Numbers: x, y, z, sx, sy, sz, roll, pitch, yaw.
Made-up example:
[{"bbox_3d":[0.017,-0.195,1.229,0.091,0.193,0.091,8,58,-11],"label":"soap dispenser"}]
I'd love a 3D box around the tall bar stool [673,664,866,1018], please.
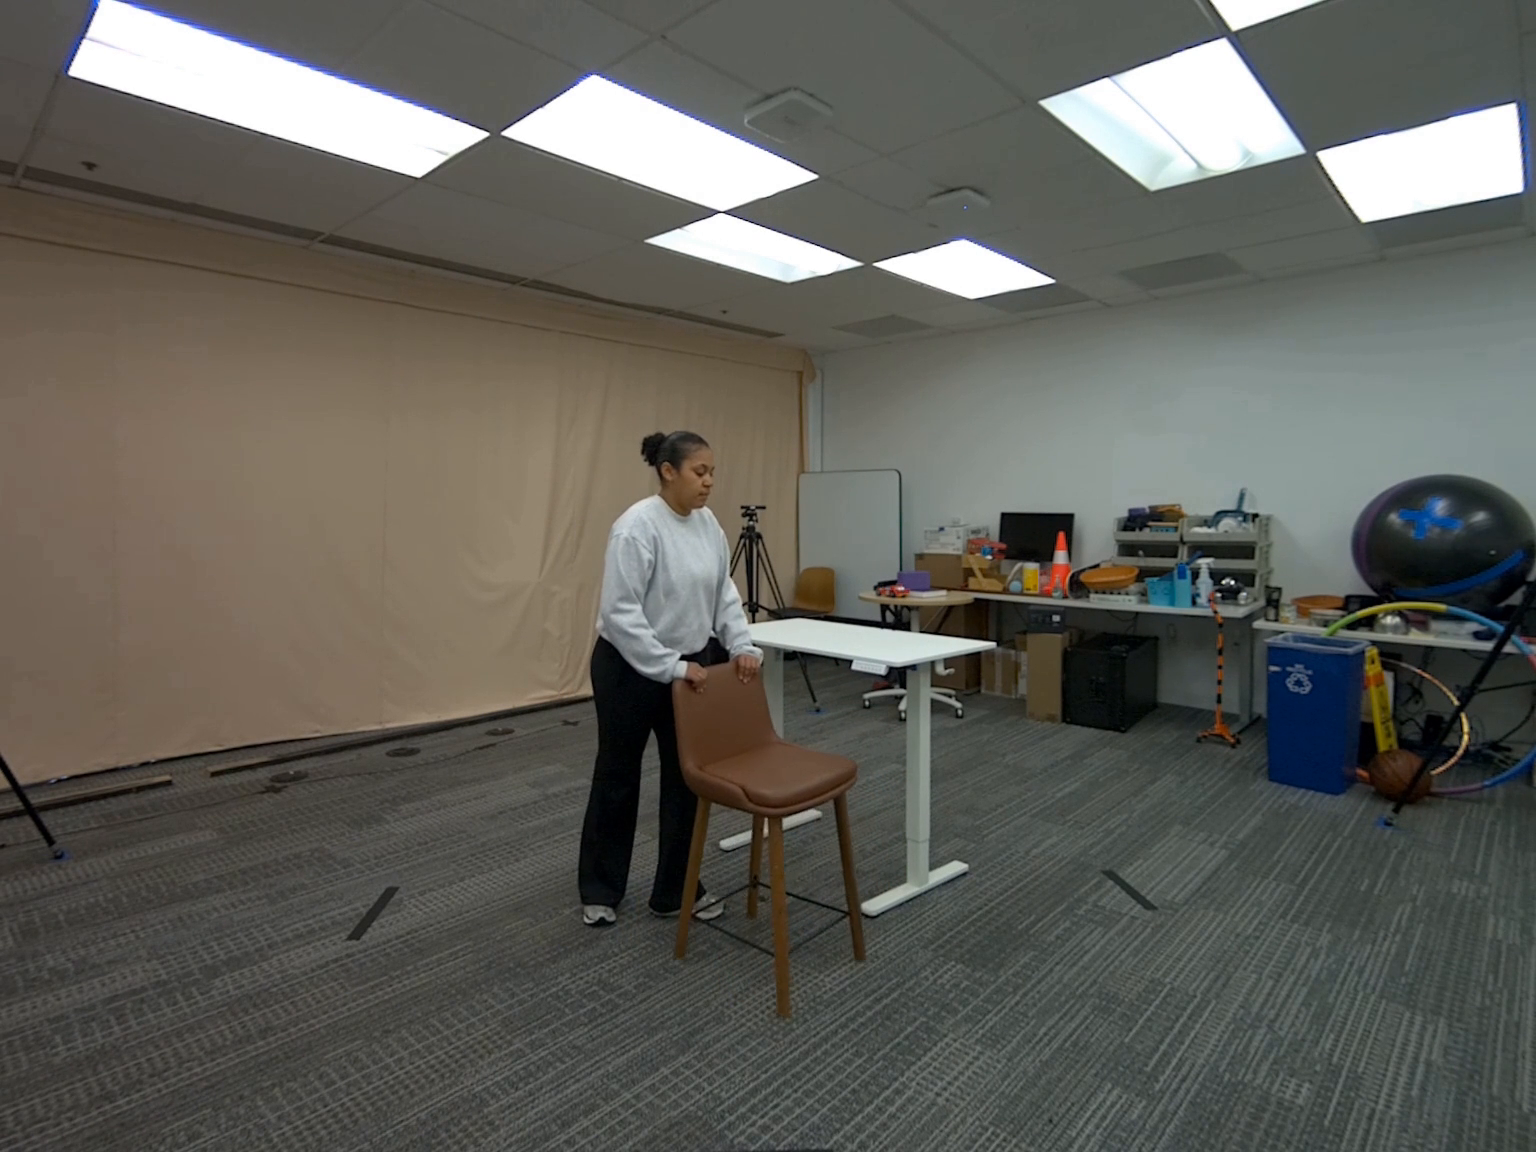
[{"bbox_3d":[-0.003,0.746,2.559,0.483,0.888,0.443,1,3,40],"label":"tall bar stool"}]
